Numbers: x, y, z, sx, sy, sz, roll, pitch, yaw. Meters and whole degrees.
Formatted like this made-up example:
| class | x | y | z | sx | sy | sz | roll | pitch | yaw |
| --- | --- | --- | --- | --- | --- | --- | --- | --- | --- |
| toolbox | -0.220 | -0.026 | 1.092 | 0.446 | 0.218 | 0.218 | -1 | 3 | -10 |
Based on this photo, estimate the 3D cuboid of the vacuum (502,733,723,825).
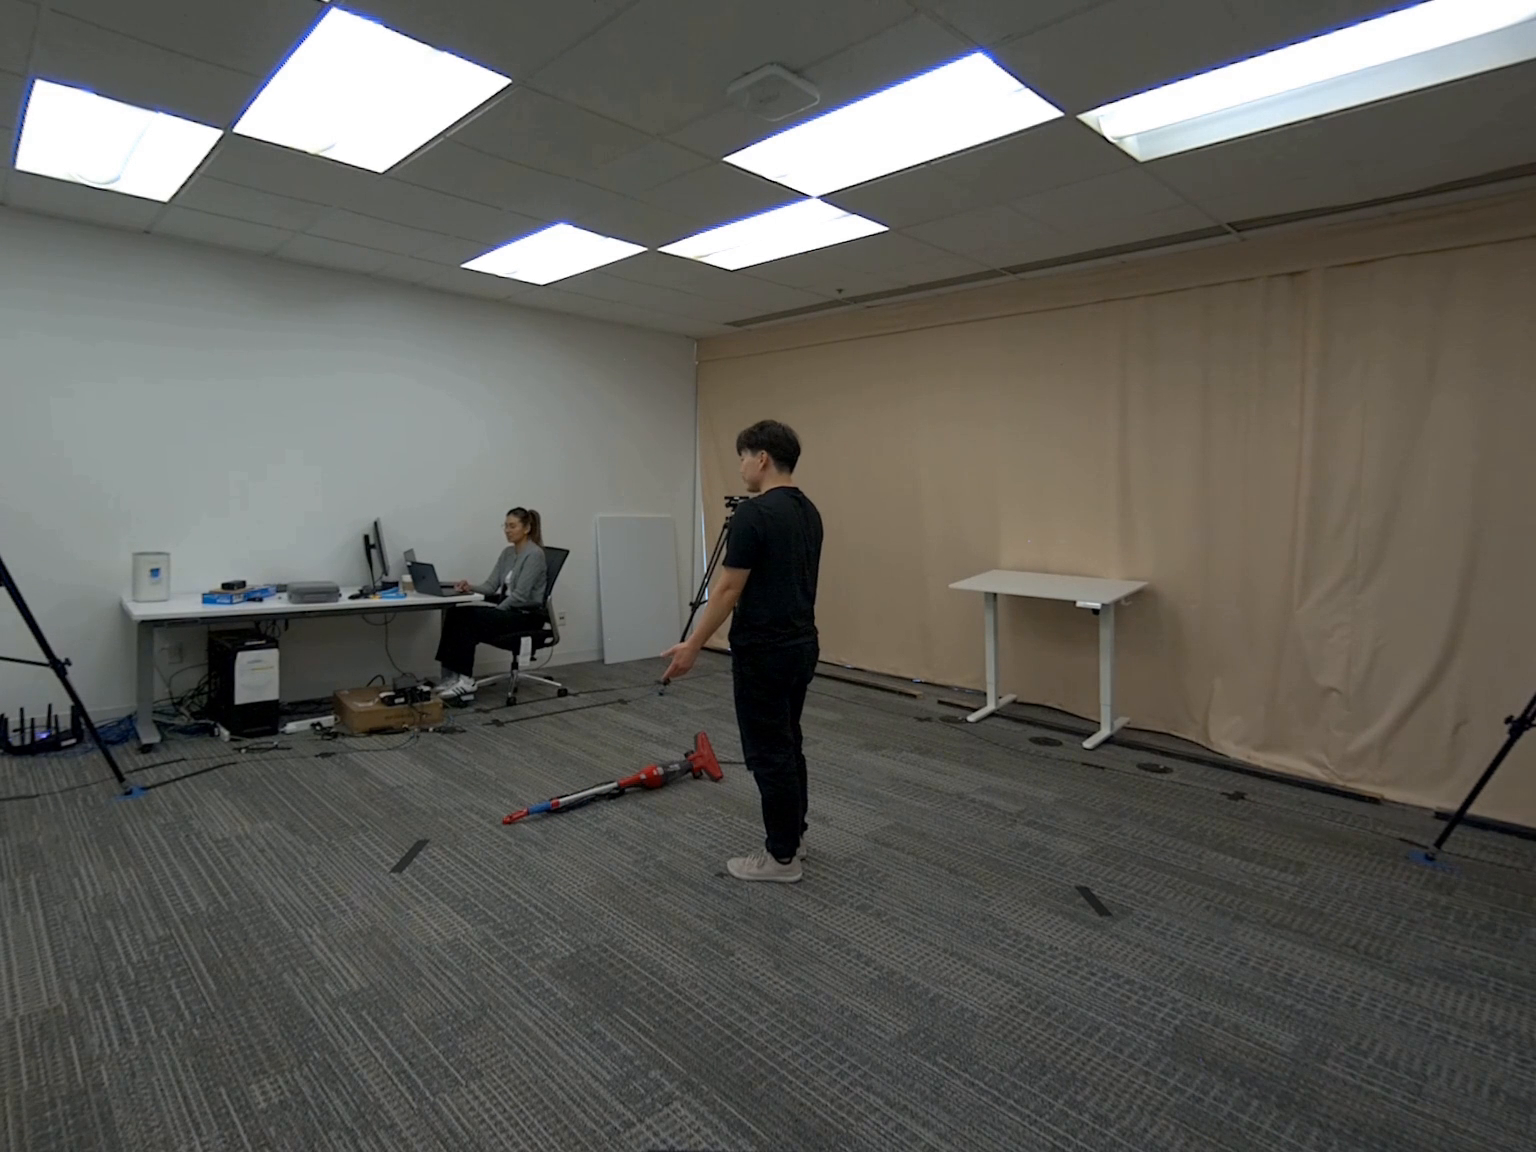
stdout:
| class | x | y | z | sx | sy | sz | roll | pitch | yaw |
| --- | --- | --- | --- | --- | --- | --- | --- | --- | --- |
| vacuum | -0.718 | 0.973 | 3.869 | 1.028 | 0.258 | 0.144 | -9 | -29 | -40 |
